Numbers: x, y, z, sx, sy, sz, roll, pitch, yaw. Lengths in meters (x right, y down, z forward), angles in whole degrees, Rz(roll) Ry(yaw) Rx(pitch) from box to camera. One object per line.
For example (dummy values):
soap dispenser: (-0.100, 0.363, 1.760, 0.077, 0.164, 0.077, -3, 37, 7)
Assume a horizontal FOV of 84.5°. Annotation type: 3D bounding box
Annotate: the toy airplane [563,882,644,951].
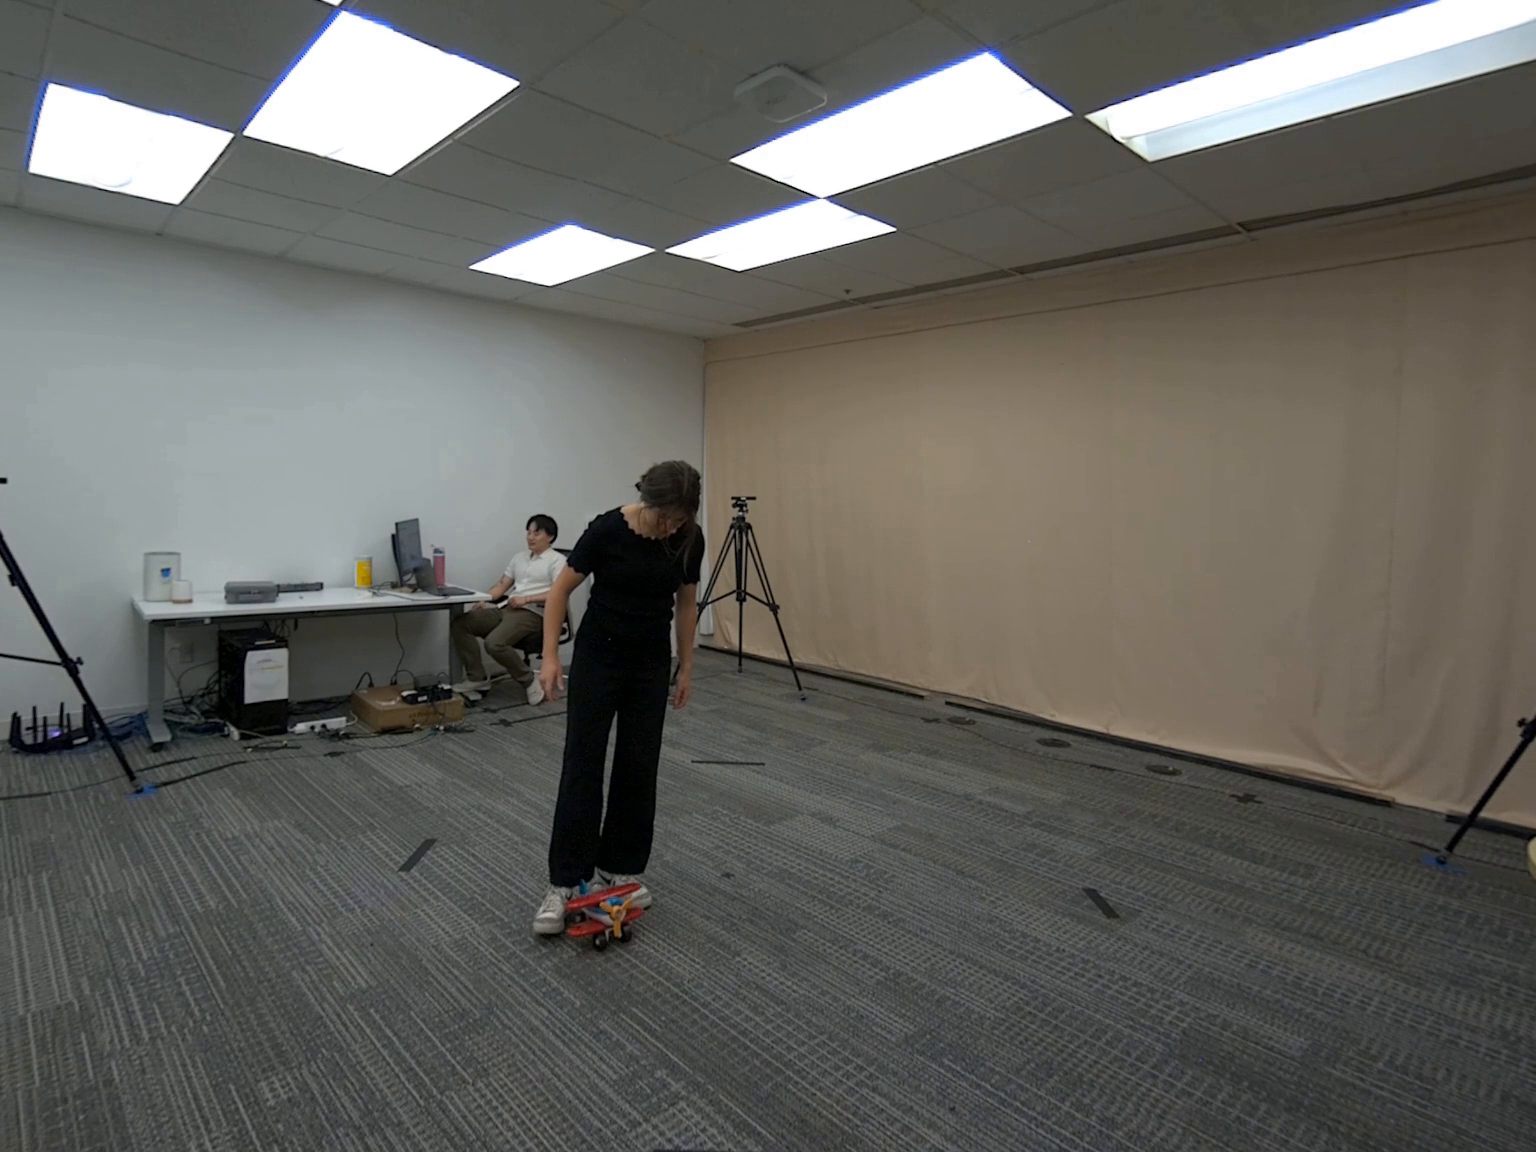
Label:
toy airplane: (-0.558, 1.066, 2.653, 0.264, 0.156, 0.247, 4, 6, 22)
